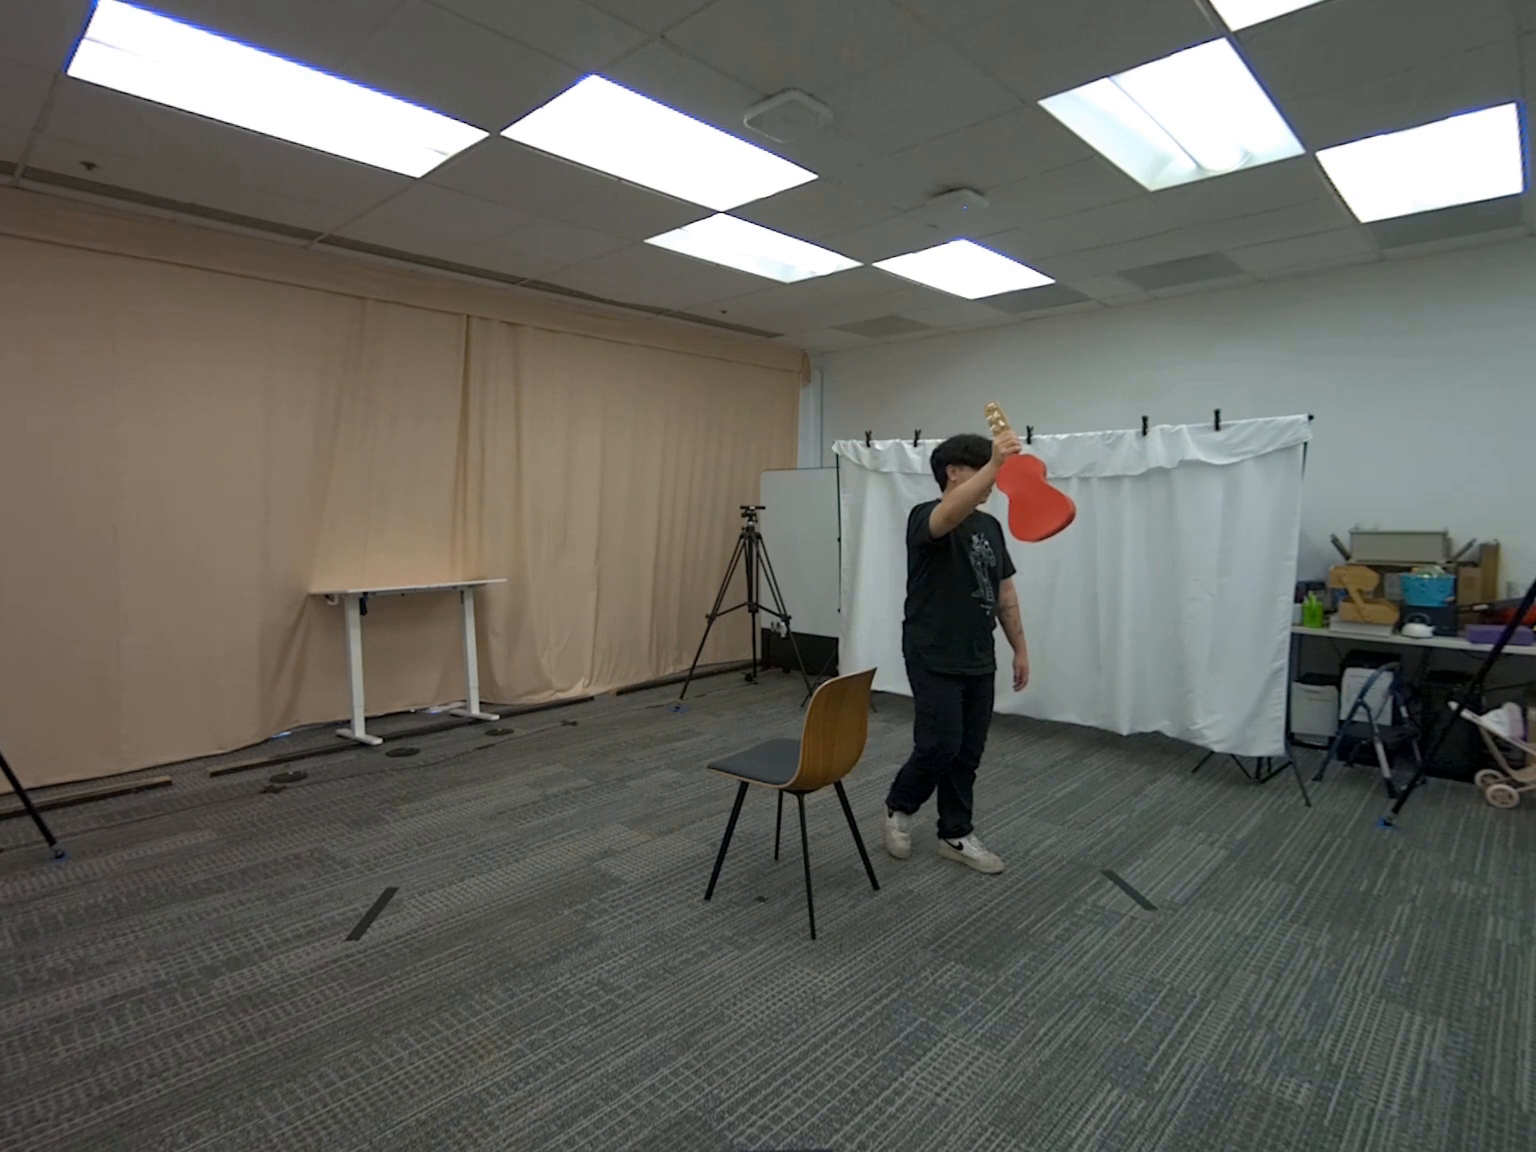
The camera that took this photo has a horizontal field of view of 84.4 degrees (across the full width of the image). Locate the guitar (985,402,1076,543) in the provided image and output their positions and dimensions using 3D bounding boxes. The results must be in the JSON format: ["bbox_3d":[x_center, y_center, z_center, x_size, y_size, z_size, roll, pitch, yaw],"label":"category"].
[{"bbox_3d":[0.762,-0.328,2.666,0.195,0.510,0.068,-40,-30,28],"label":"guitar"}]
